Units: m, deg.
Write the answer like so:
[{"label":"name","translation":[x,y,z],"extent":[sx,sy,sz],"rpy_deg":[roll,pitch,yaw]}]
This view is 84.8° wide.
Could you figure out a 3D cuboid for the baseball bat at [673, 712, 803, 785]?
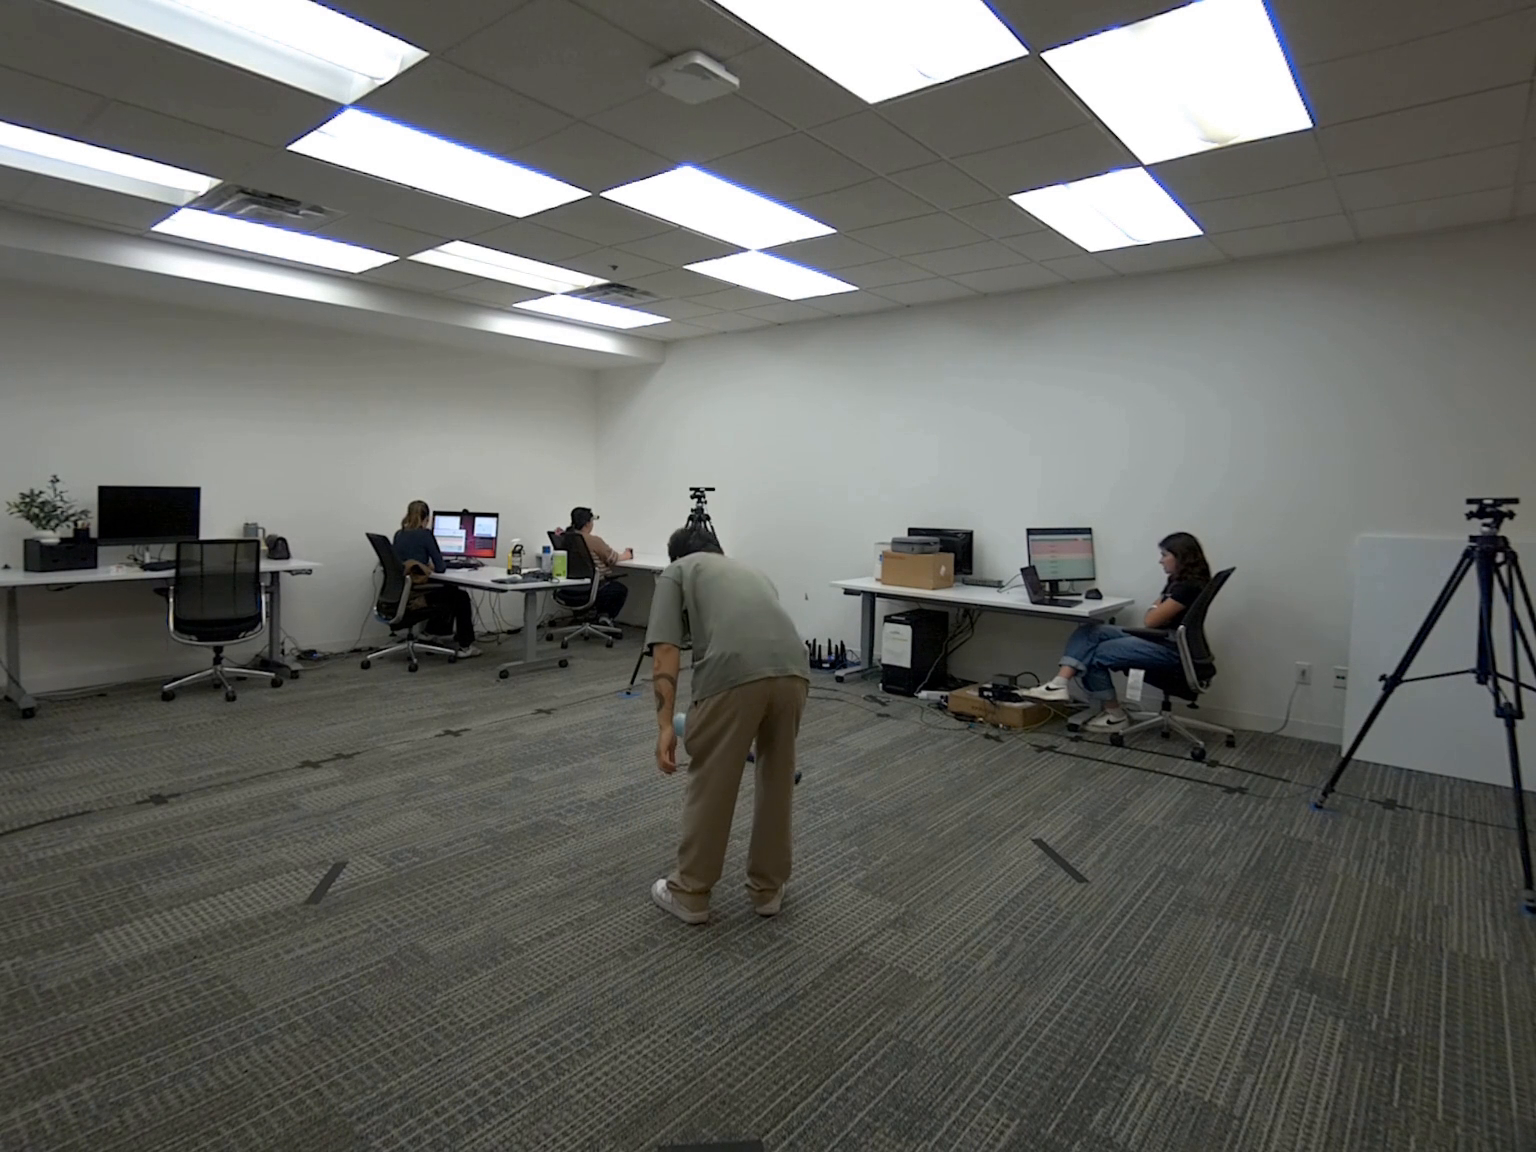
[{"label":"baseball bat","translation":[-0.137,0.640,3.174],"extent":[0.560,0.088,0.087],"rpy_deg":[19,11,25]}]
